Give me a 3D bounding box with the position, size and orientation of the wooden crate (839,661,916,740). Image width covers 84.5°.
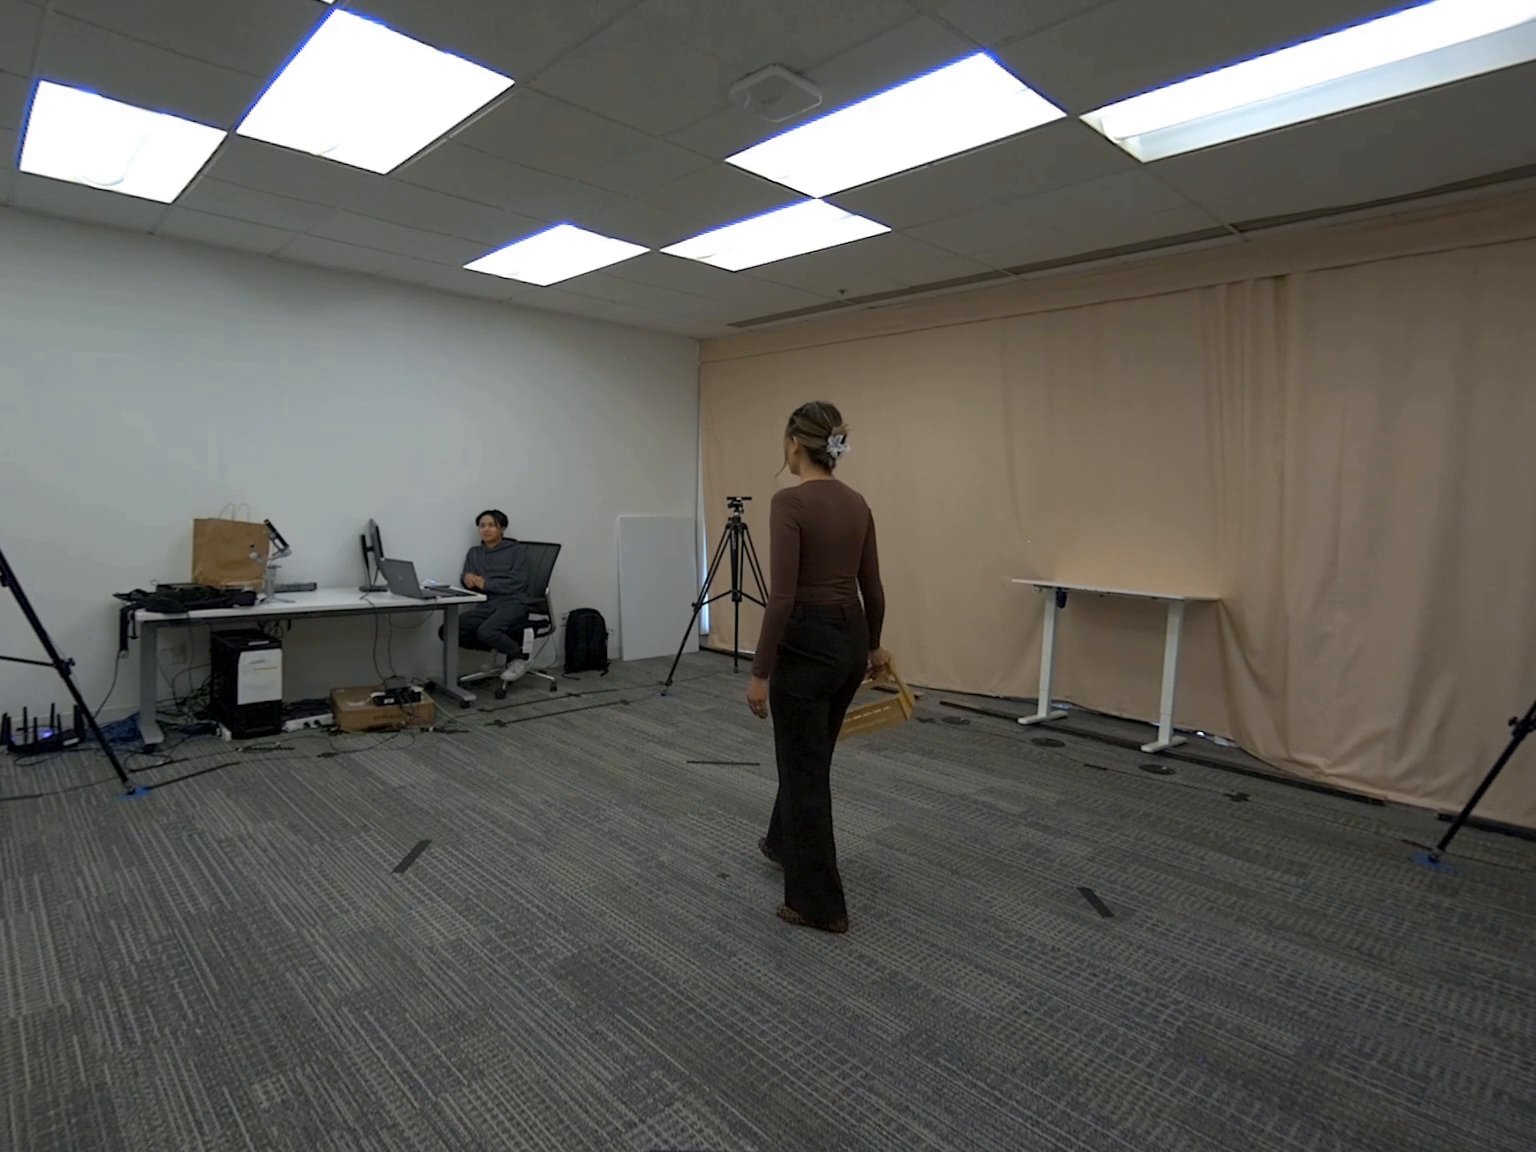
[{"bbox_3d":[0.343,0.437,3.239,0.327,0.273,0.300,-21,1,15],"label":"wooden crate"}]
